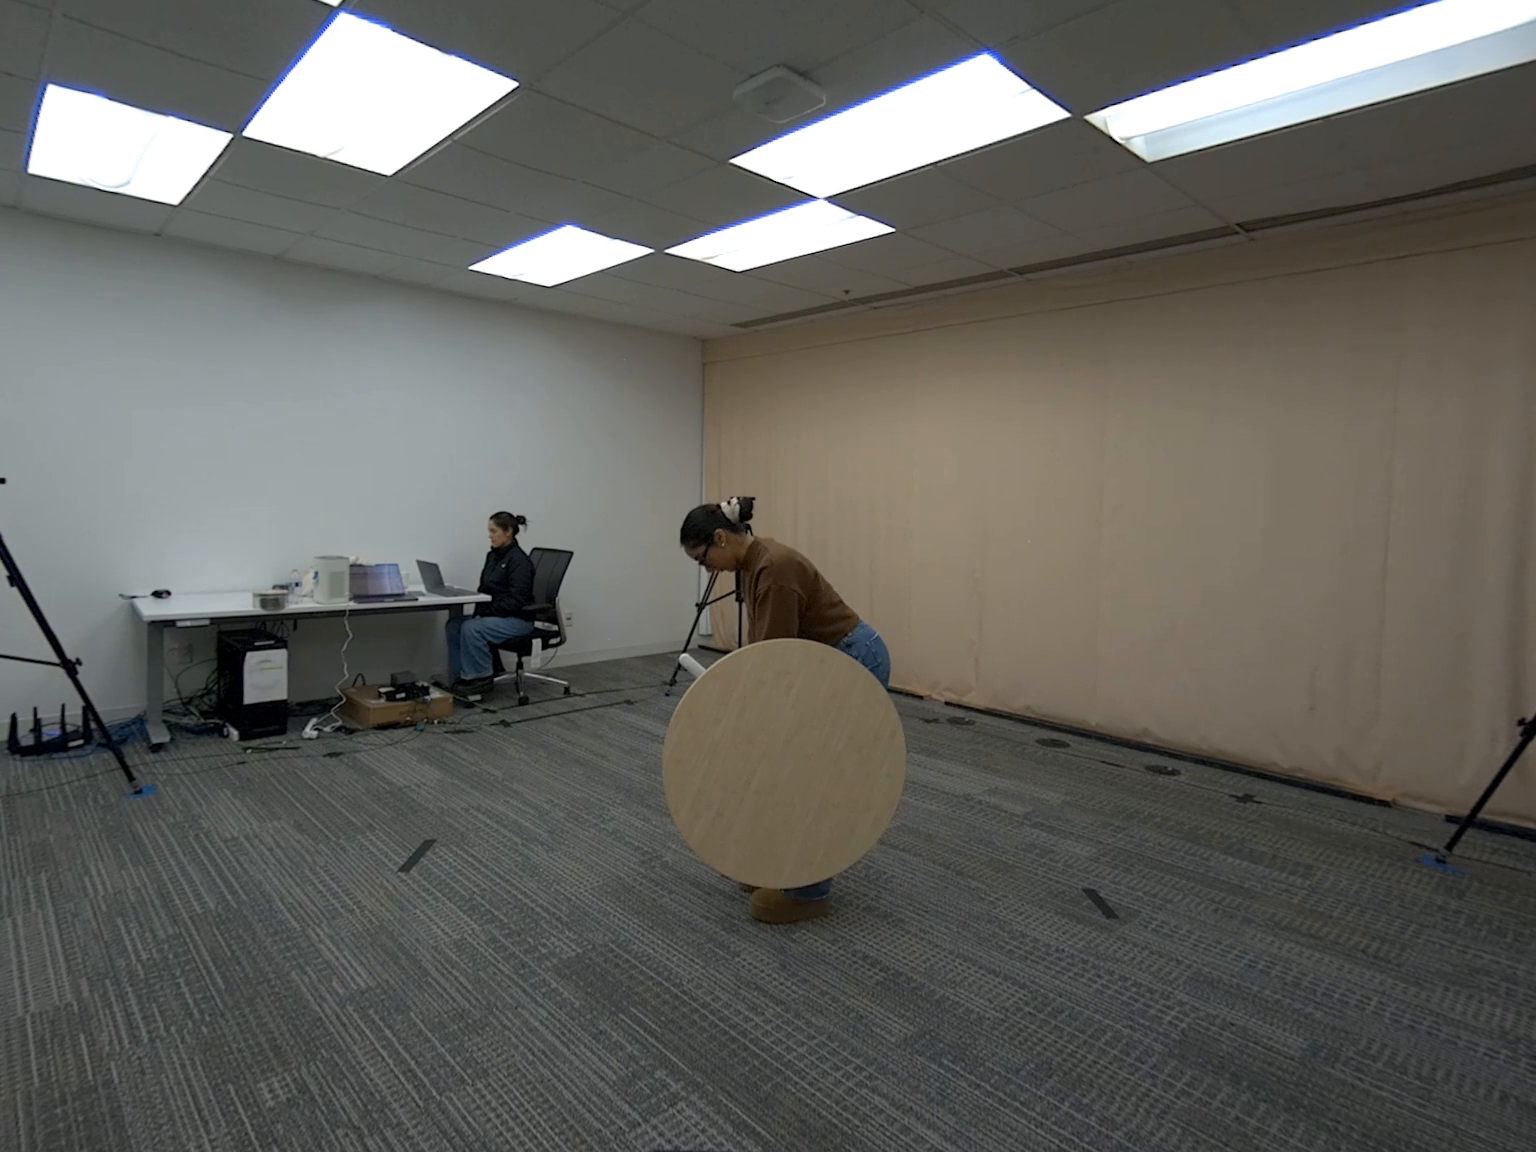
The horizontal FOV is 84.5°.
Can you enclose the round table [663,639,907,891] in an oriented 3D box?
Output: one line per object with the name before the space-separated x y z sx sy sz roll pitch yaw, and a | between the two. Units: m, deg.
round table | -0.020 0.571 2.976 0.758 0.764 0.801 1 1 -10
